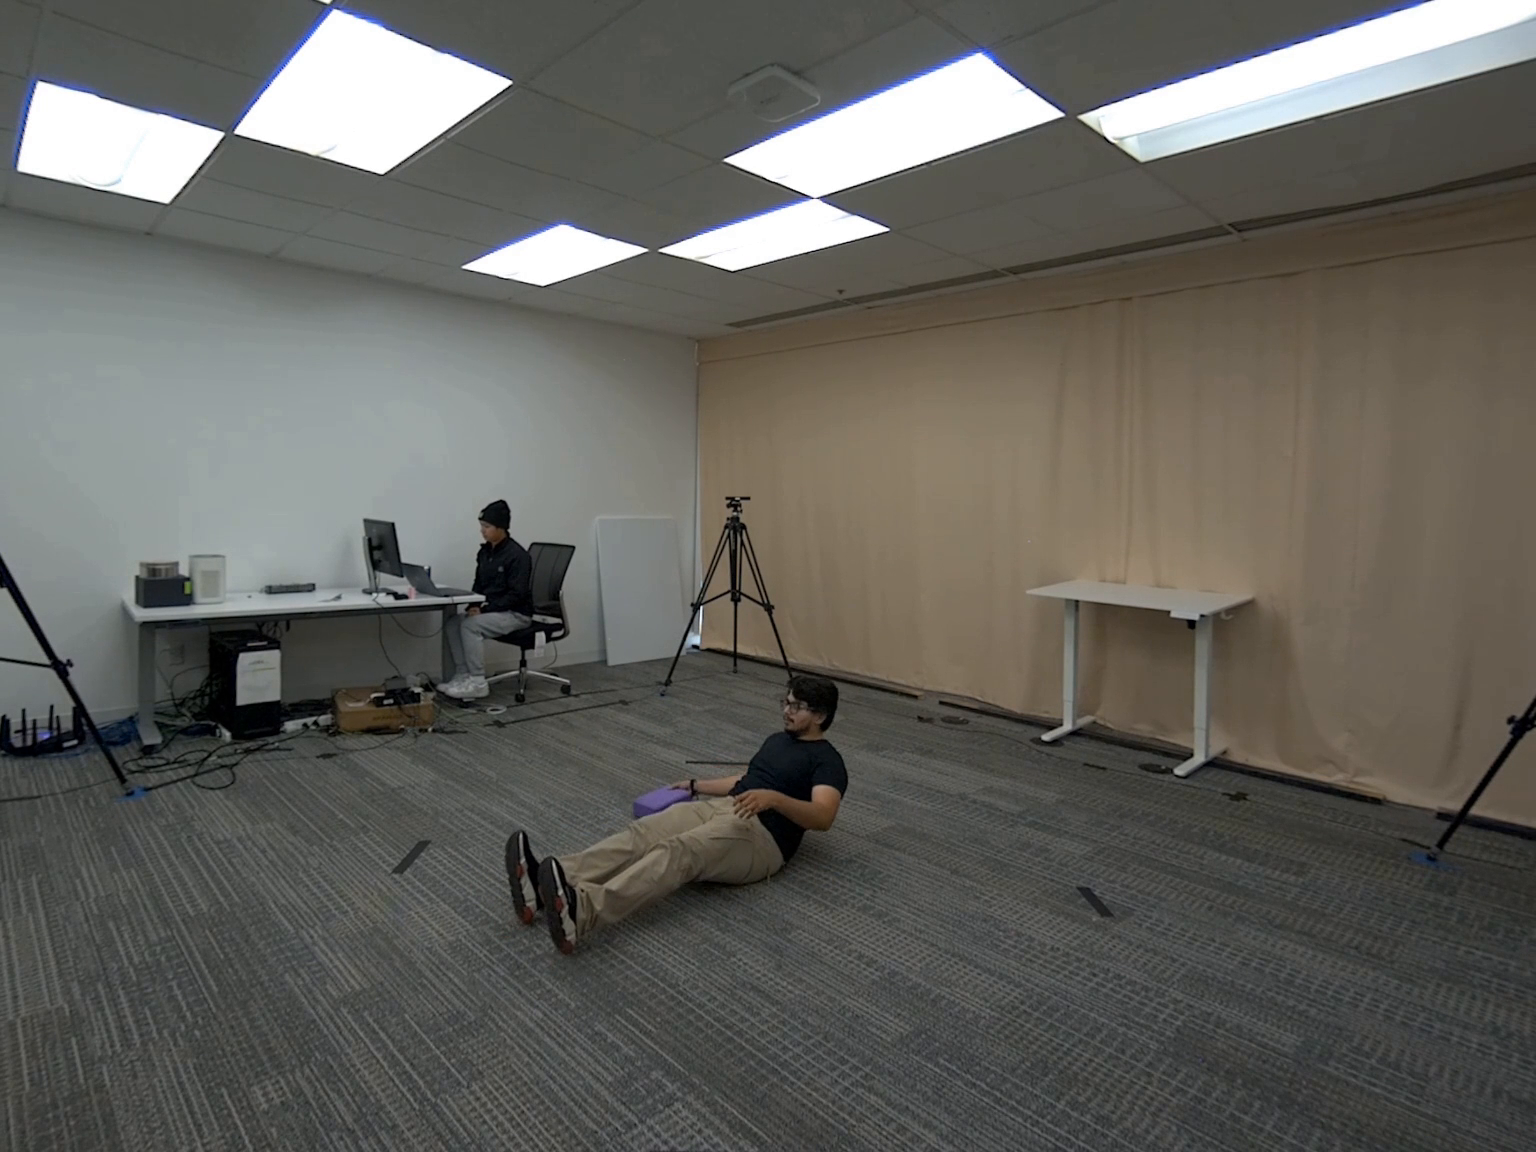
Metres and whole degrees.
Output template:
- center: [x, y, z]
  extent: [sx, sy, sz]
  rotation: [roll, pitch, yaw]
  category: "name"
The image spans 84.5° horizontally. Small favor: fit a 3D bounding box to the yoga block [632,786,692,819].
- center: [-0.468, 0.993, 3.699]
  extent: [0.153, 0.076, 0.225]
  rotation: [6, 10, 38]
  category: "yoga block"
